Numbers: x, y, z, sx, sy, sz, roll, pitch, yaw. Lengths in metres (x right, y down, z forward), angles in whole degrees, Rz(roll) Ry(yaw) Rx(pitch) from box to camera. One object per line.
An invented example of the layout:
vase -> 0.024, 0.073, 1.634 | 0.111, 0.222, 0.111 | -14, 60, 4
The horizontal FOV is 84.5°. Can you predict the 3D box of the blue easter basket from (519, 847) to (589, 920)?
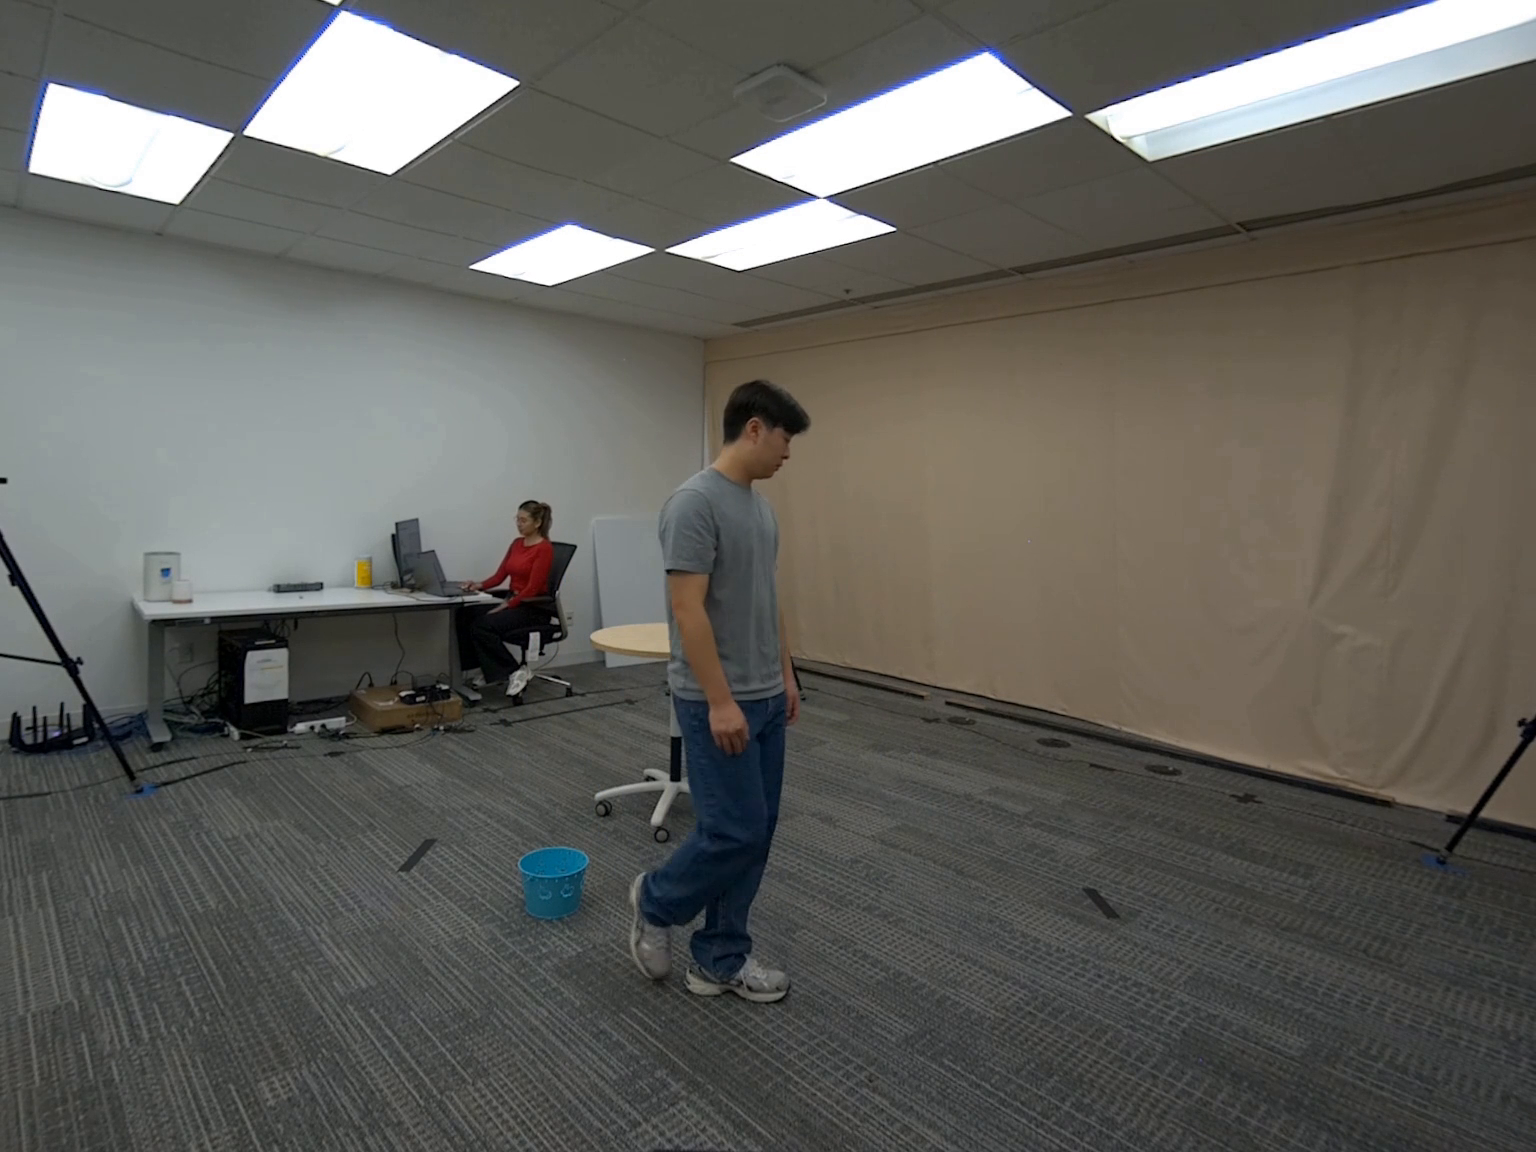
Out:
blue easter basket -> -0.736, 1.039, 2.849 | 0.243, 0.155, 0.244 | 2, 5, -2
